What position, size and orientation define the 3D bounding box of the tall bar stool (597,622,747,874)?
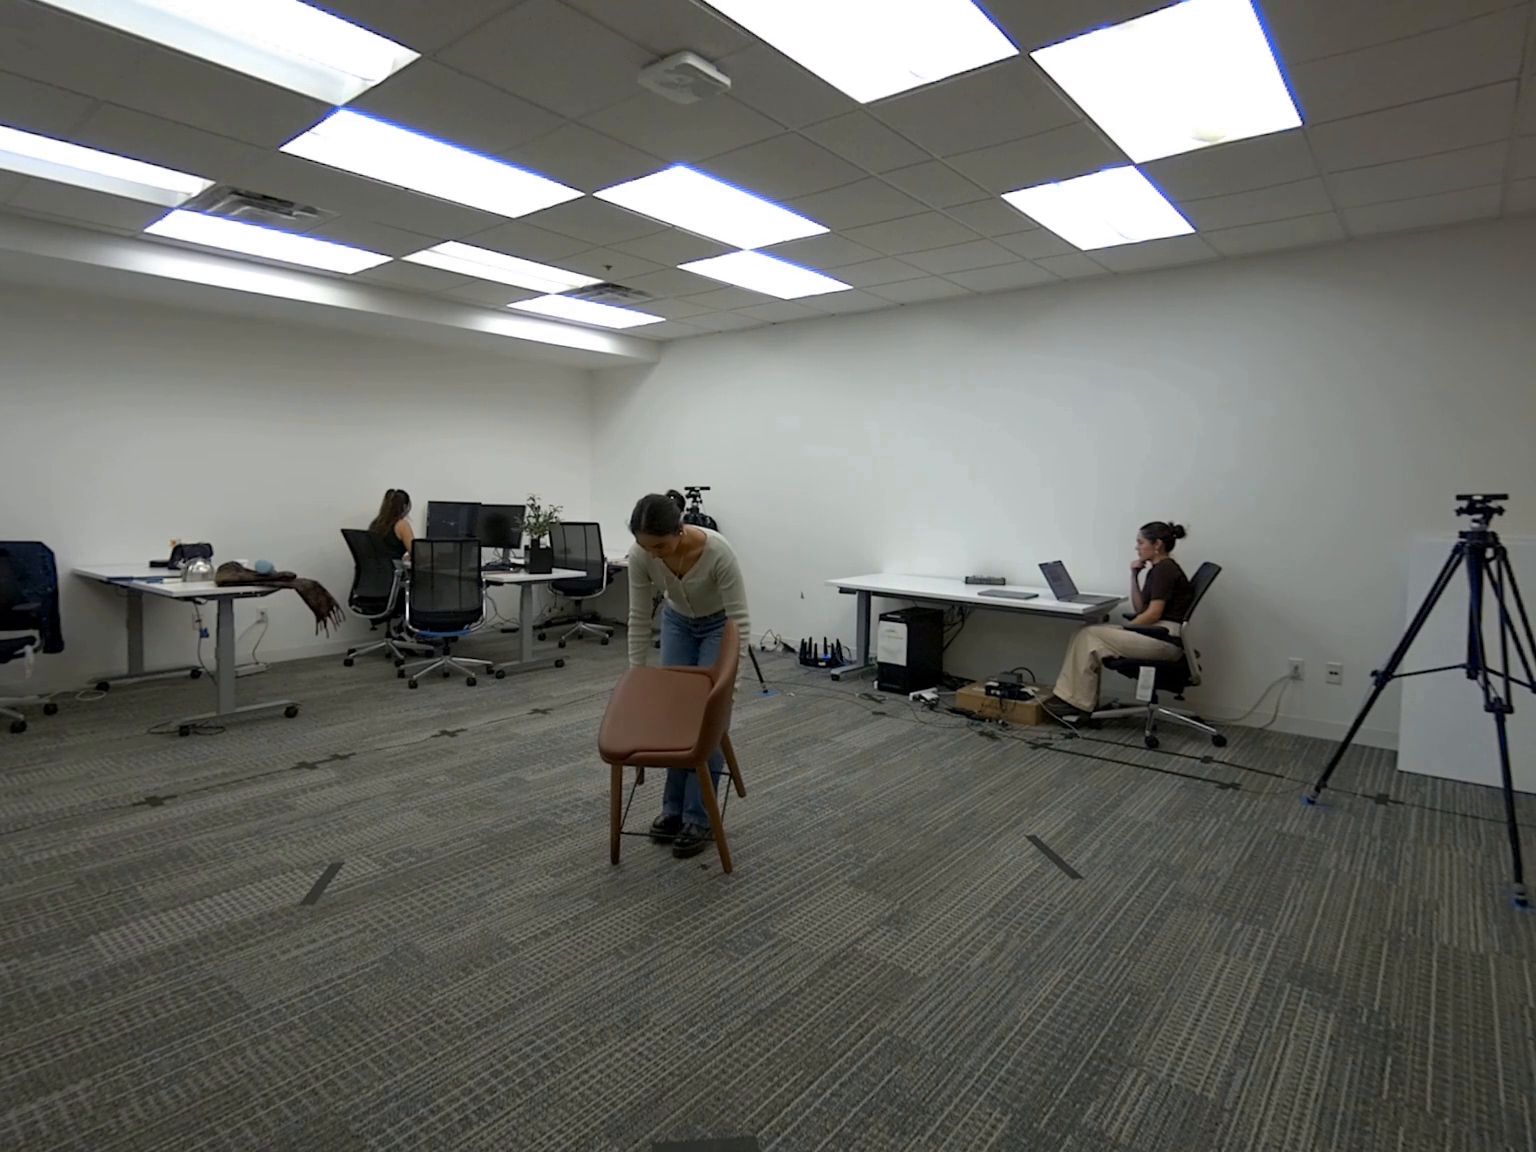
[{"bbox_3d":[-0.347,0.601,3.031,0.472,0.866,0.464,5,33,8],"label":"tall bar stool"}]
